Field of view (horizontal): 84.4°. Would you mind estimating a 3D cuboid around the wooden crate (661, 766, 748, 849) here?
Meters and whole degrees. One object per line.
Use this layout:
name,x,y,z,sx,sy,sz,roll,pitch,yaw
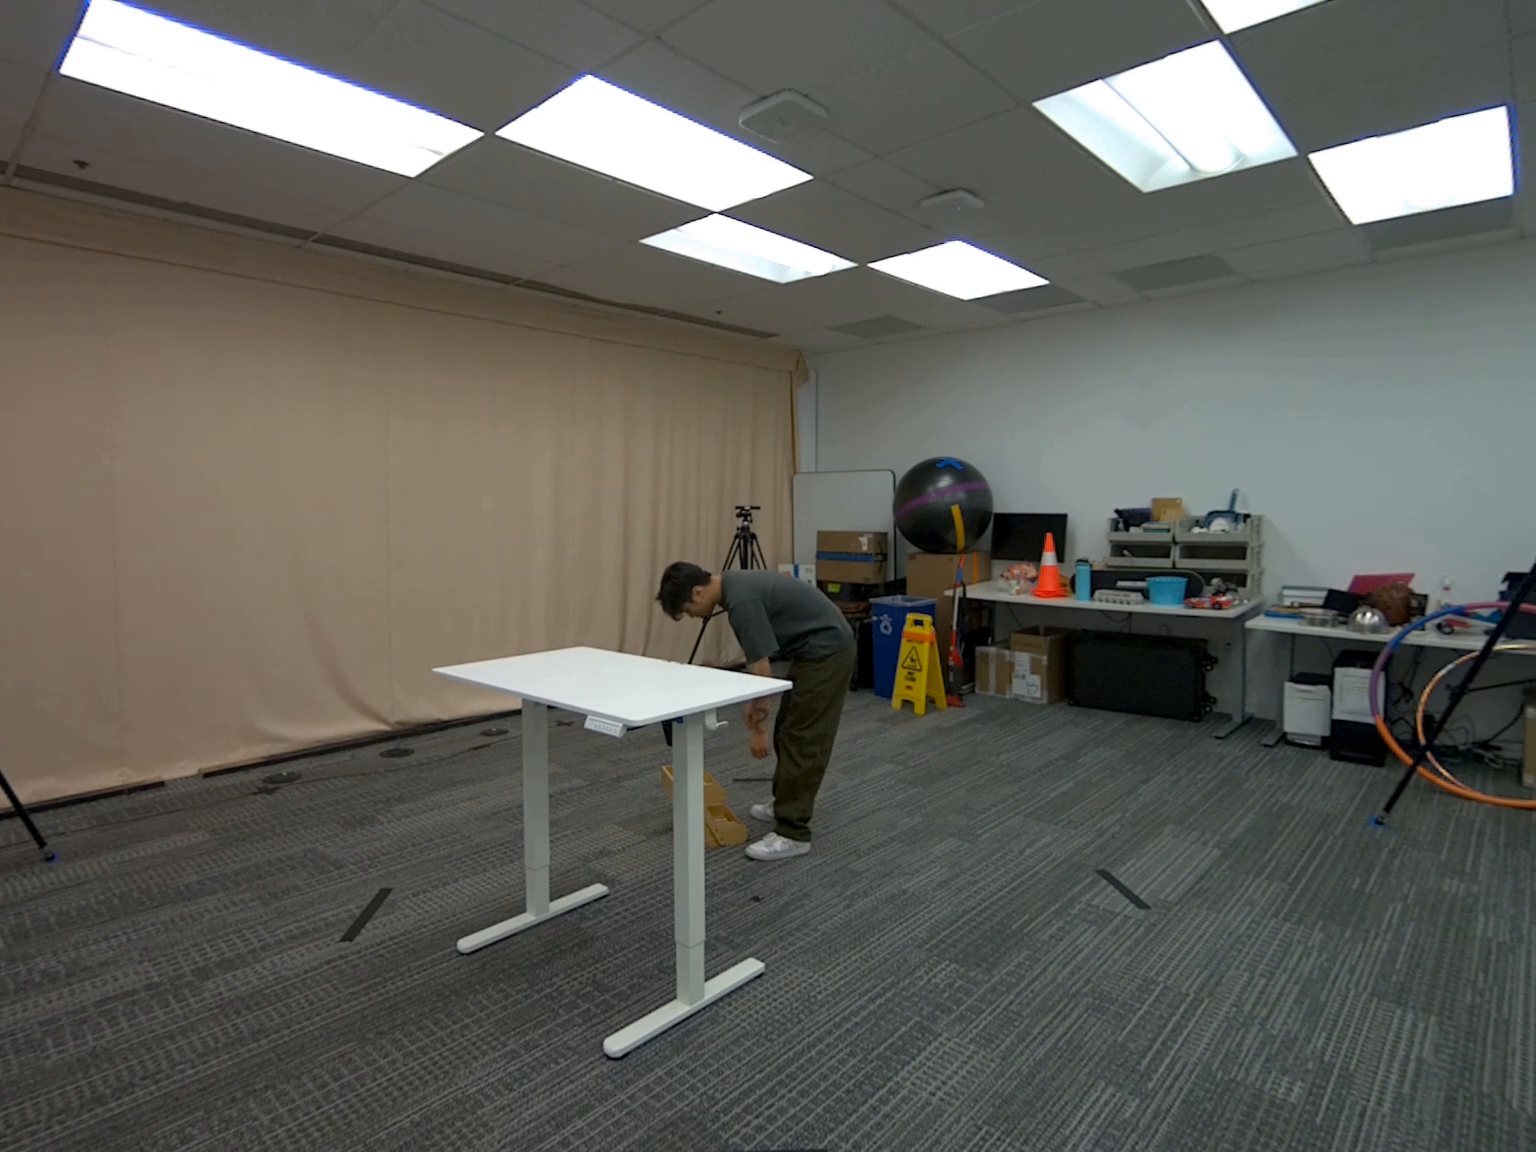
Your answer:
wooden crate,-0.264,0.981,3.591,0.297,0.273,0.331,-5,4,-18
